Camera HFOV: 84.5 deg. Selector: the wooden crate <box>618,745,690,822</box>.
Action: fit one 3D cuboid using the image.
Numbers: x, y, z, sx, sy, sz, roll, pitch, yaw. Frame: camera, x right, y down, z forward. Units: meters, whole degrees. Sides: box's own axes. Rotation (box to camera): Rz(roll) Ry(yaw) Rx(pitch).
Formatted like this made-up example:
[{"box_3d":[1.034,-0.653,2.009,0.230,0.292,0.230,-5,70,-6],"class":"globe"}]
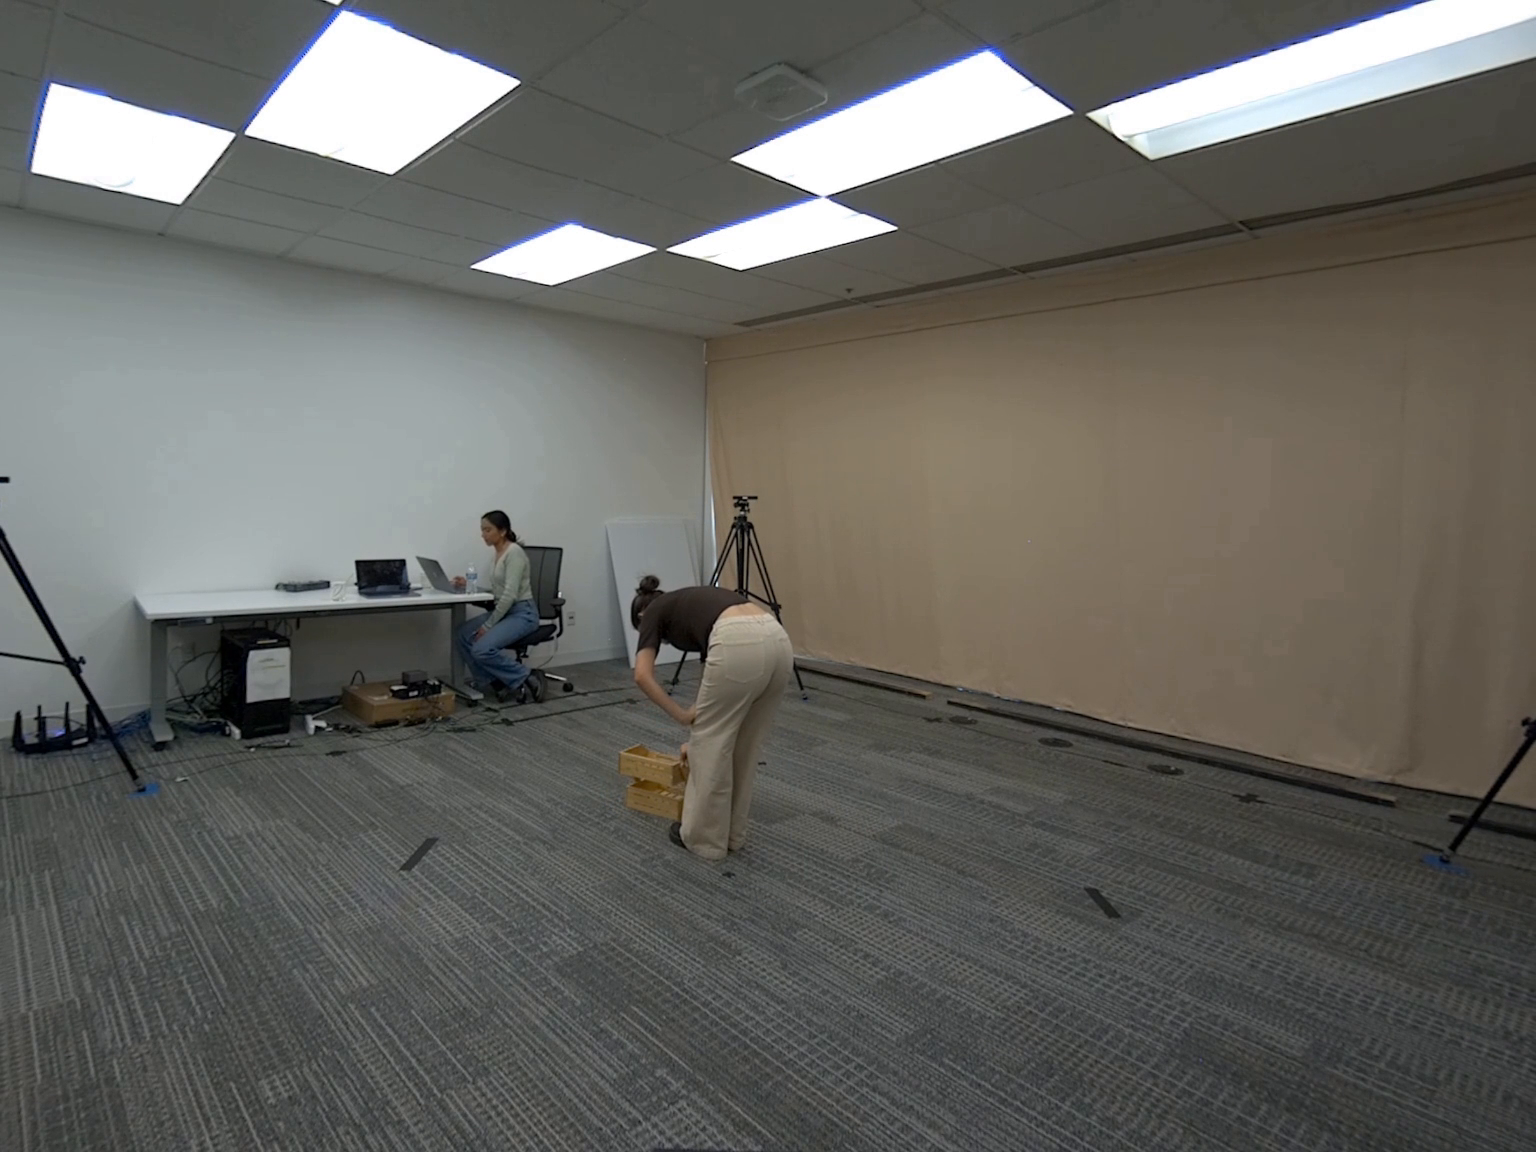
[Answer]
[{"box_3d":[-0.466,0.903,3.764,0.332,0.272,0.296,4,6,31],"class":"wooden crate"}]
